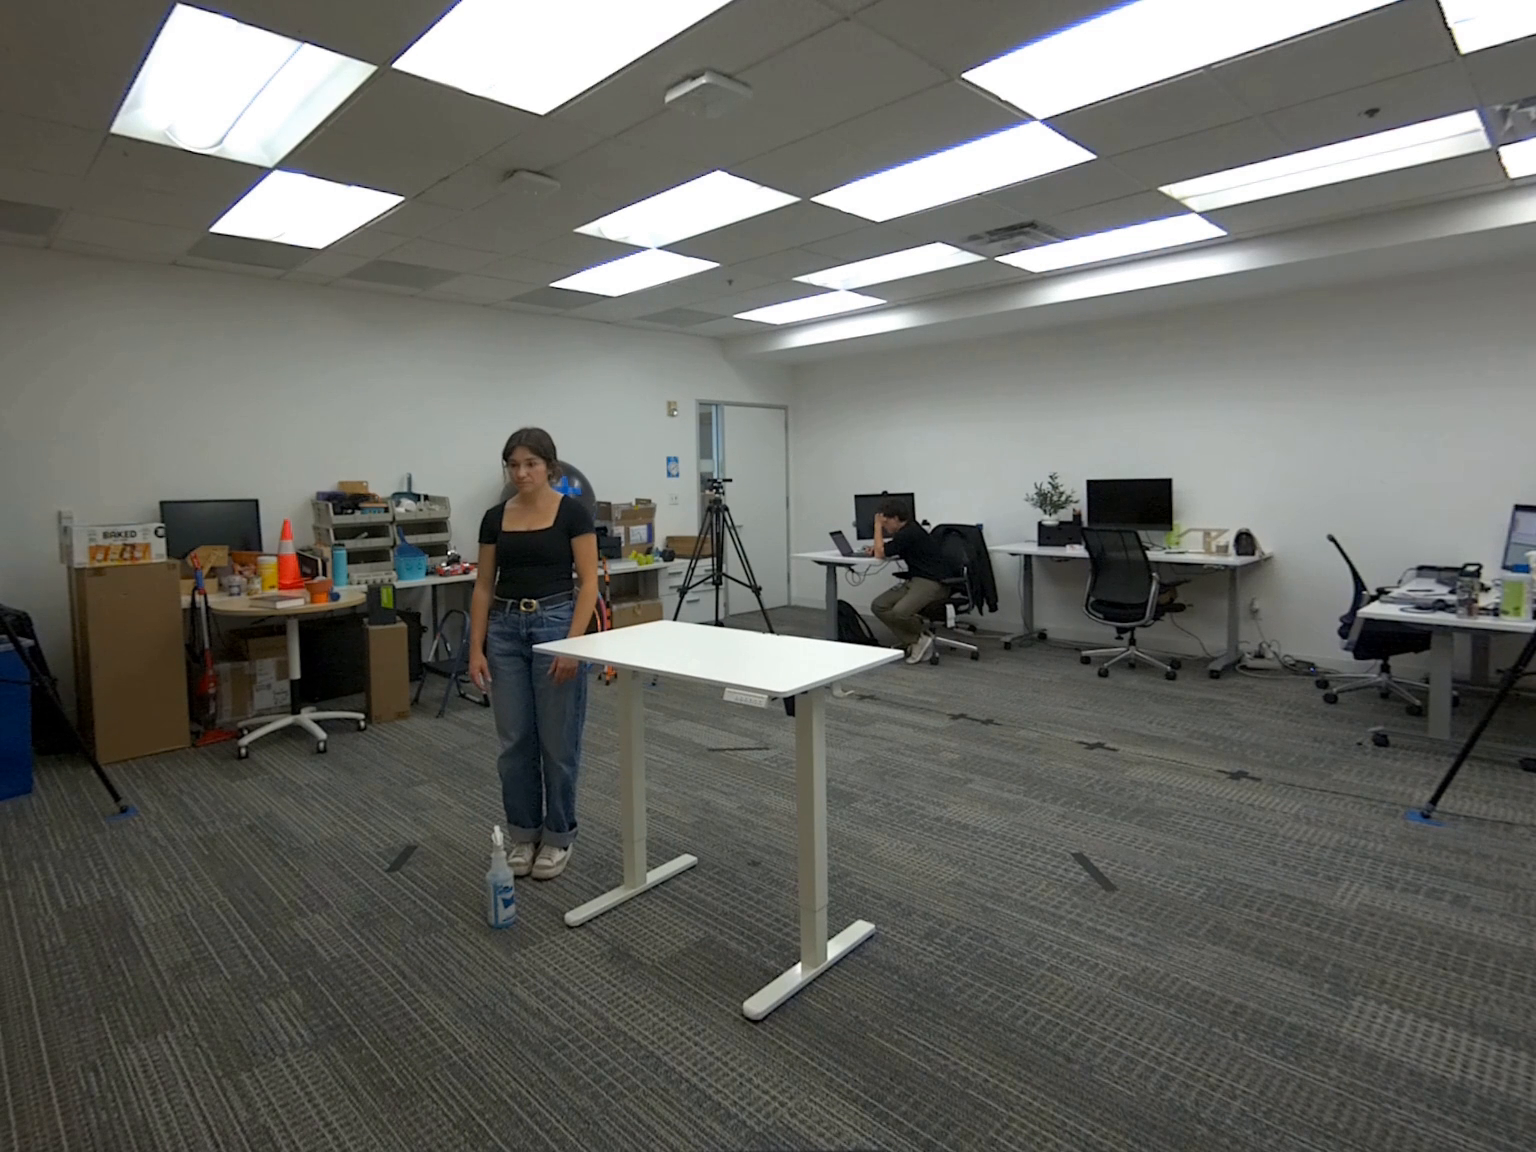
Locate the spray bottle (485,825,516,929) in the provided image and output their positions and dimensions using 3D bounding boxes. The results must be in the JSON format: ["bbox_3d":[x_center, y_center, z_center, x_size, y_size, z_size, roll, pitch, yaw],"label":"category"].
[{"bbox_3d":[-0.857,0.965,2.722,0.087,0.297,0.089,-1,2,6],"label":"spray bottle"}]
